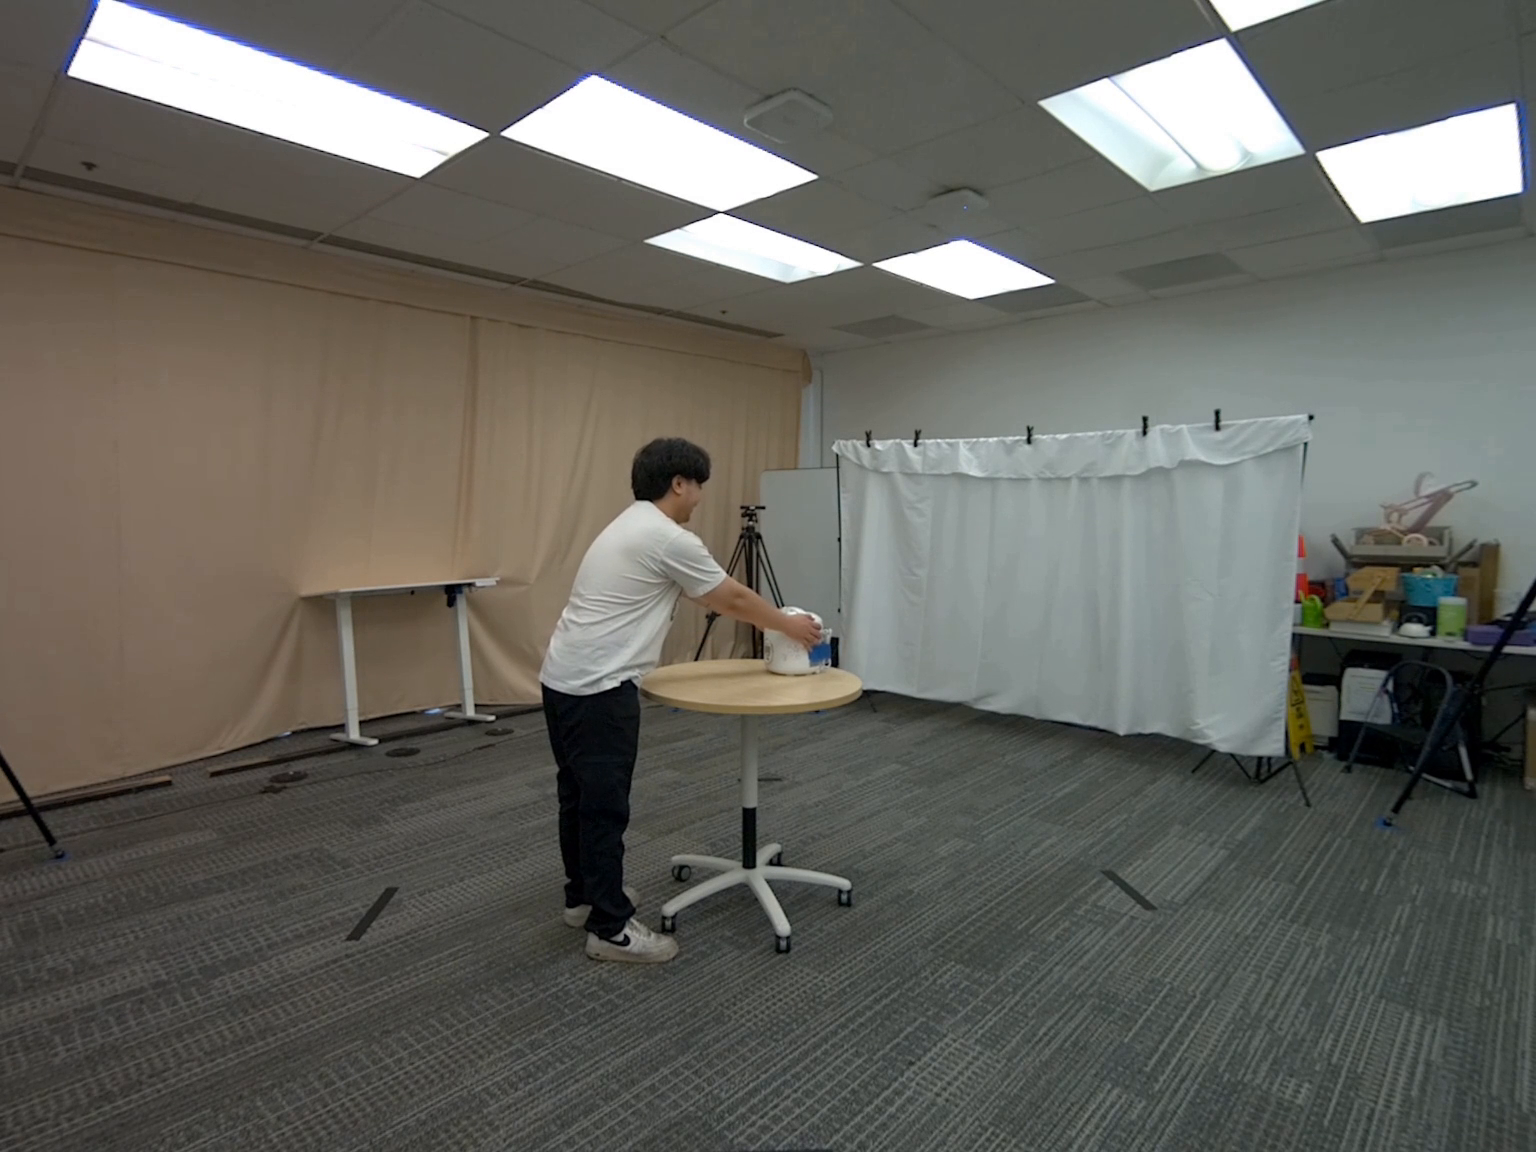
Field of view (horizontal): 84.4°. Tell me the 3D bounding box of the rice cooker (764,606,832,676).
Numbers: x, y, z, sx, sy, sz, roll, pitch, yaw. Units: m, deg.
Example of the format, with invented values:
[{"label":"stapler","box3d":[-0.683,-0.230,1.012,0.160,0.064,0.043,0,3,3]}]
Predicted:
[{"label":"rice cooker","box3d":[0.092,0.229,3.024,0.212,0.232,0.227,-1,2,-29]}]
